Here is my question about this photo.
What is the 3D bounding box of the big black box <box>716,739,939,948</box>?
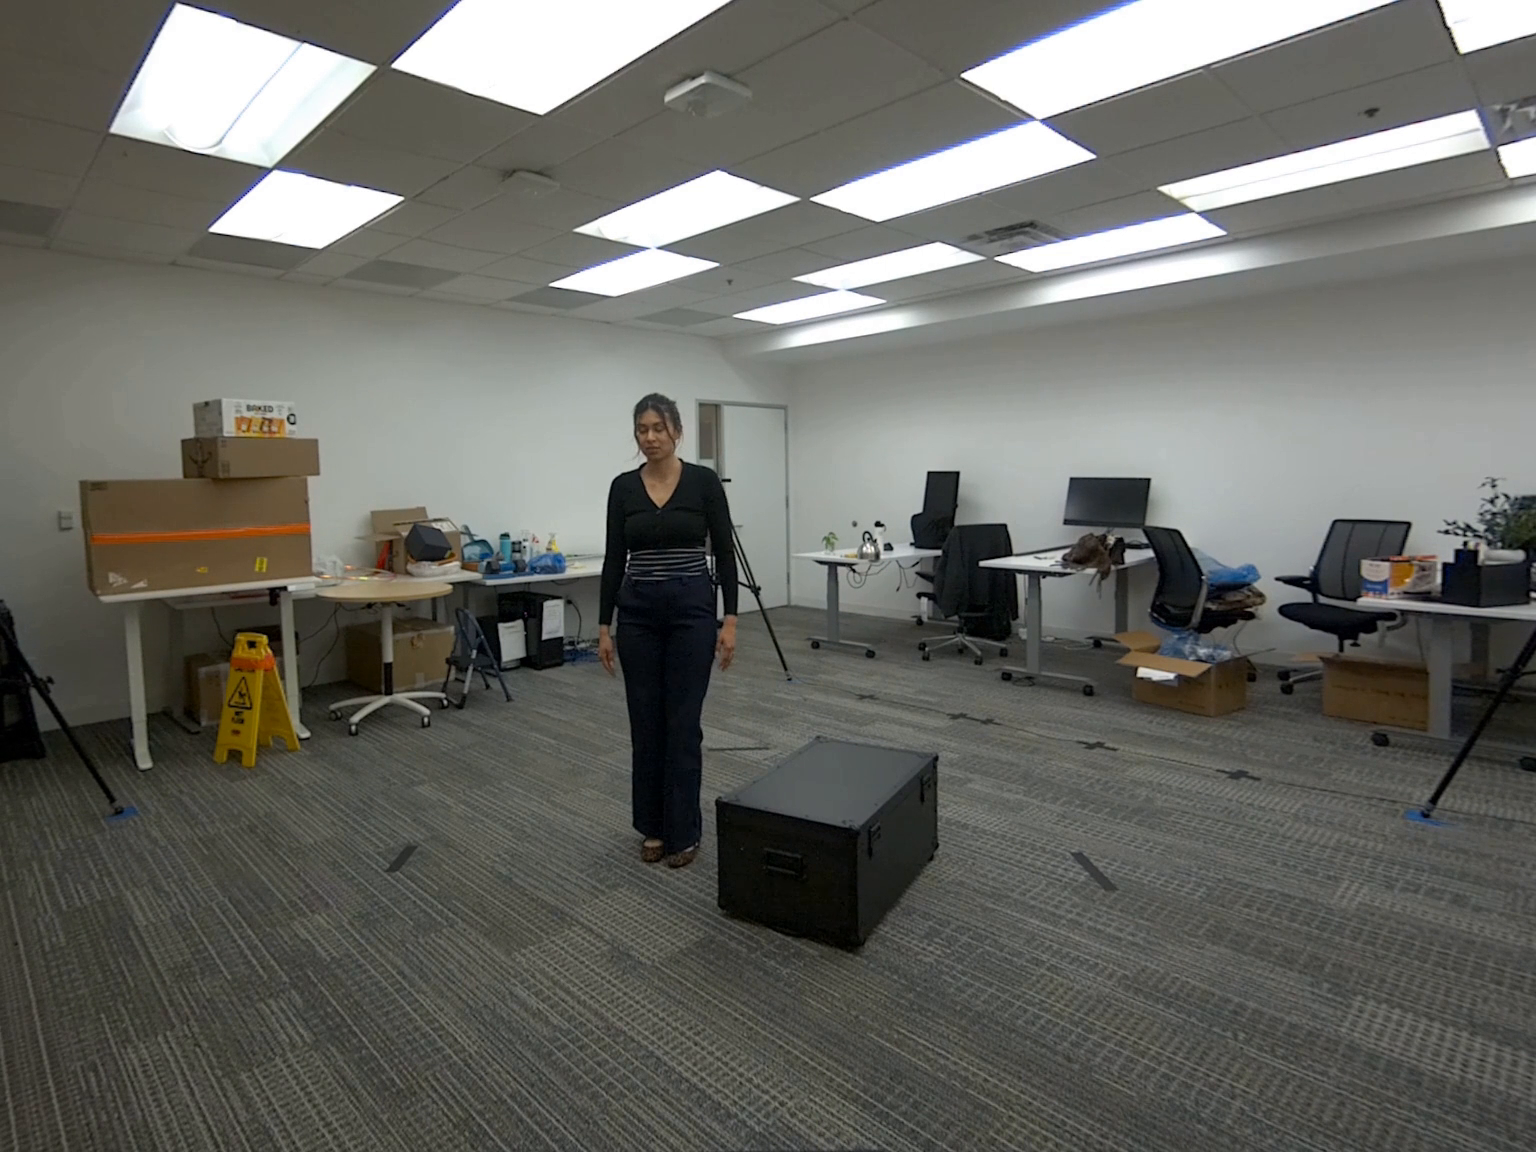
[{"bbox_3d":[0.250,0.866,2.959,0.535,0.394,0.844,2,7,29],"label":"big black box"}]
